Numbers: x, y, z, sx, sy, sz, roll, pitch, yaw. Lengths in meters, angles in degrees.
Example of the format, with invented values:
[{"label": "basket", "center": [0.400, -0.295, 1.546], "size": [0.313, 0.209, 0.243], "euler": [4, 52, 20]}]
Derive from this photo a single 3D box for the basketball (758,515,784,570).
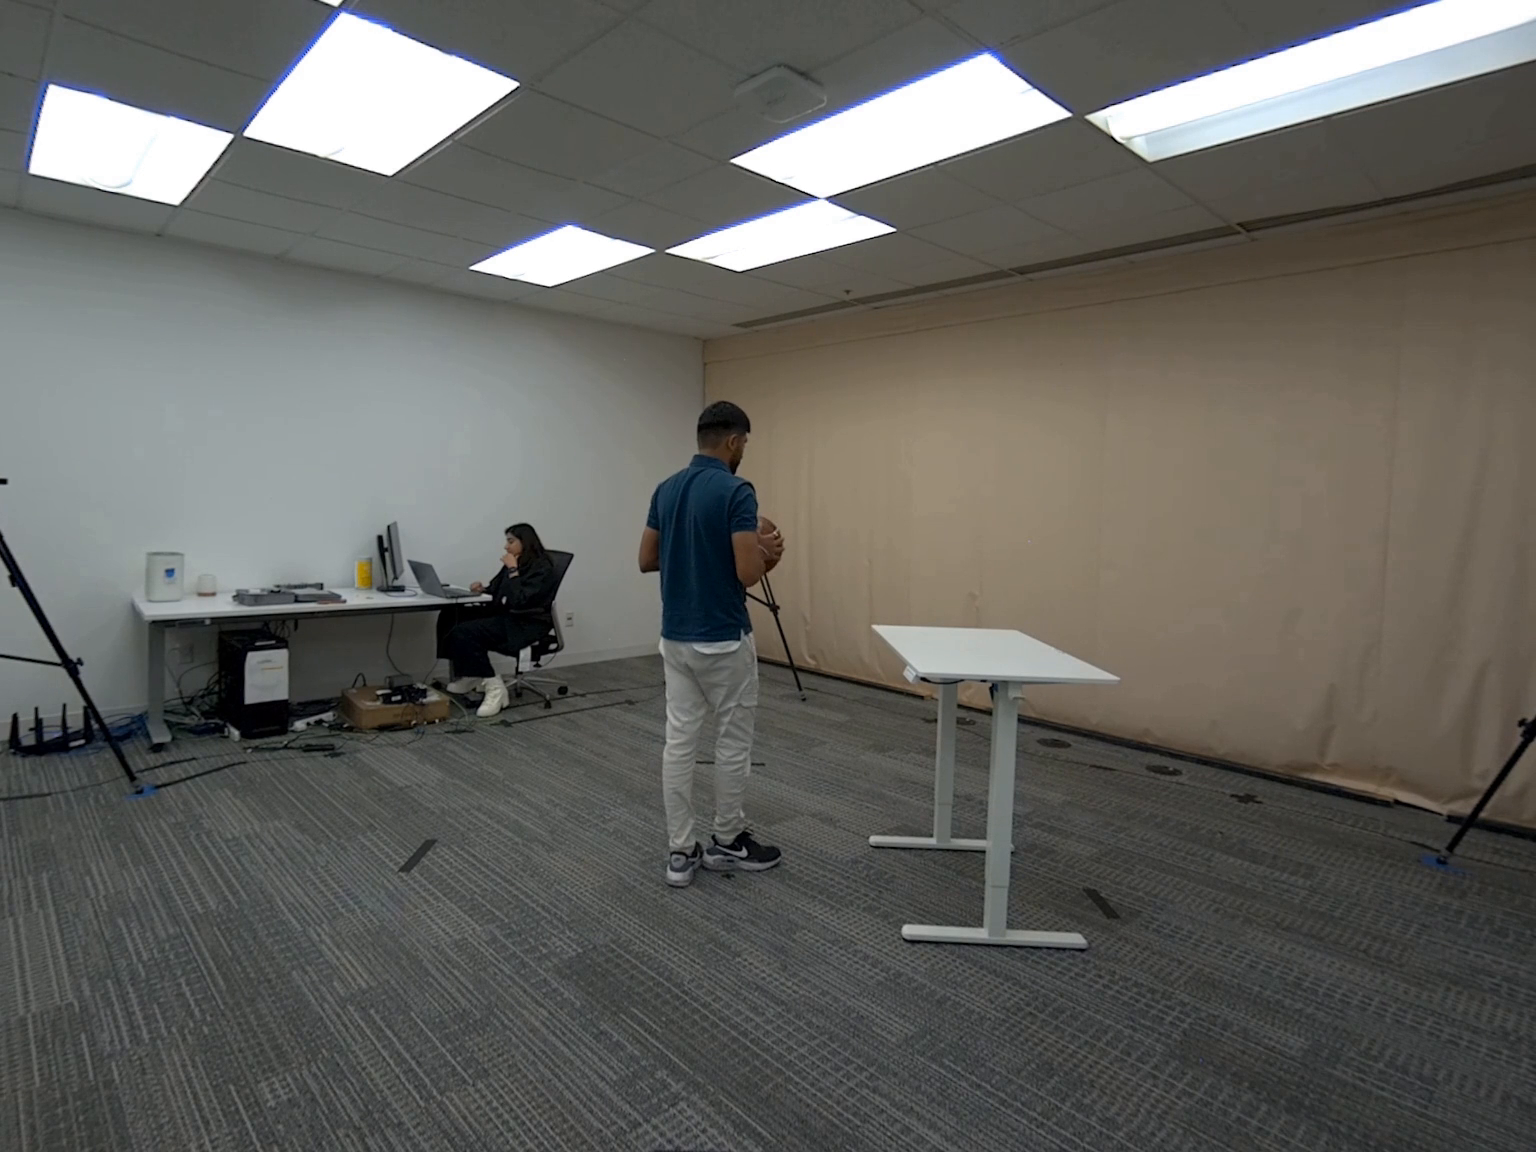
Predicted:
[{"label": "basketball", "center": [-0.060, -0.119, 3.275], "size": [0.236, 0.235, 0.237], "euler": [1, 4, -1]}]
